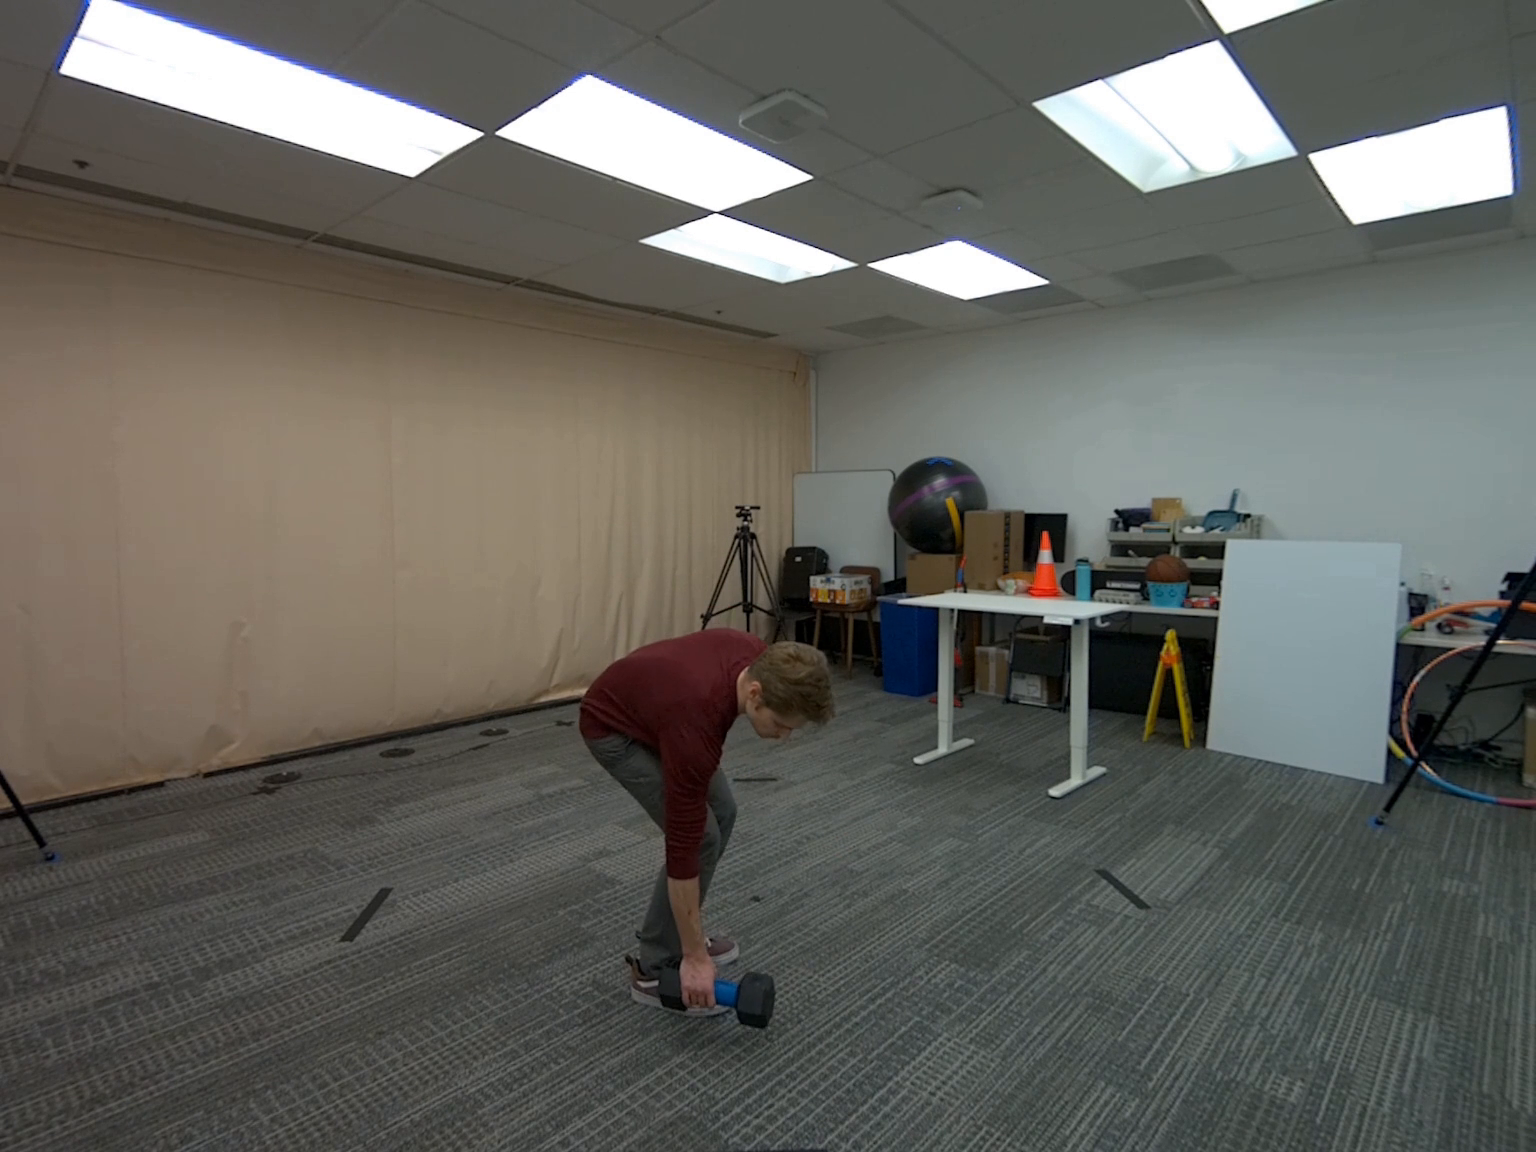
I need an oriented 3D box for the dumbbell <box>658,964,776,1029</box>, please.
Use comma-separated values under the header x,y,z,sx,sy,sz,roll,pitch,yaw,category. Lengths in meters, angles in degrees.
x,y,z,sx,sy,sz,roll,pitch,yaw,category
-0.129,1.070,2.166,0.299,0.120,0.109,2,34,17,dumbbell
